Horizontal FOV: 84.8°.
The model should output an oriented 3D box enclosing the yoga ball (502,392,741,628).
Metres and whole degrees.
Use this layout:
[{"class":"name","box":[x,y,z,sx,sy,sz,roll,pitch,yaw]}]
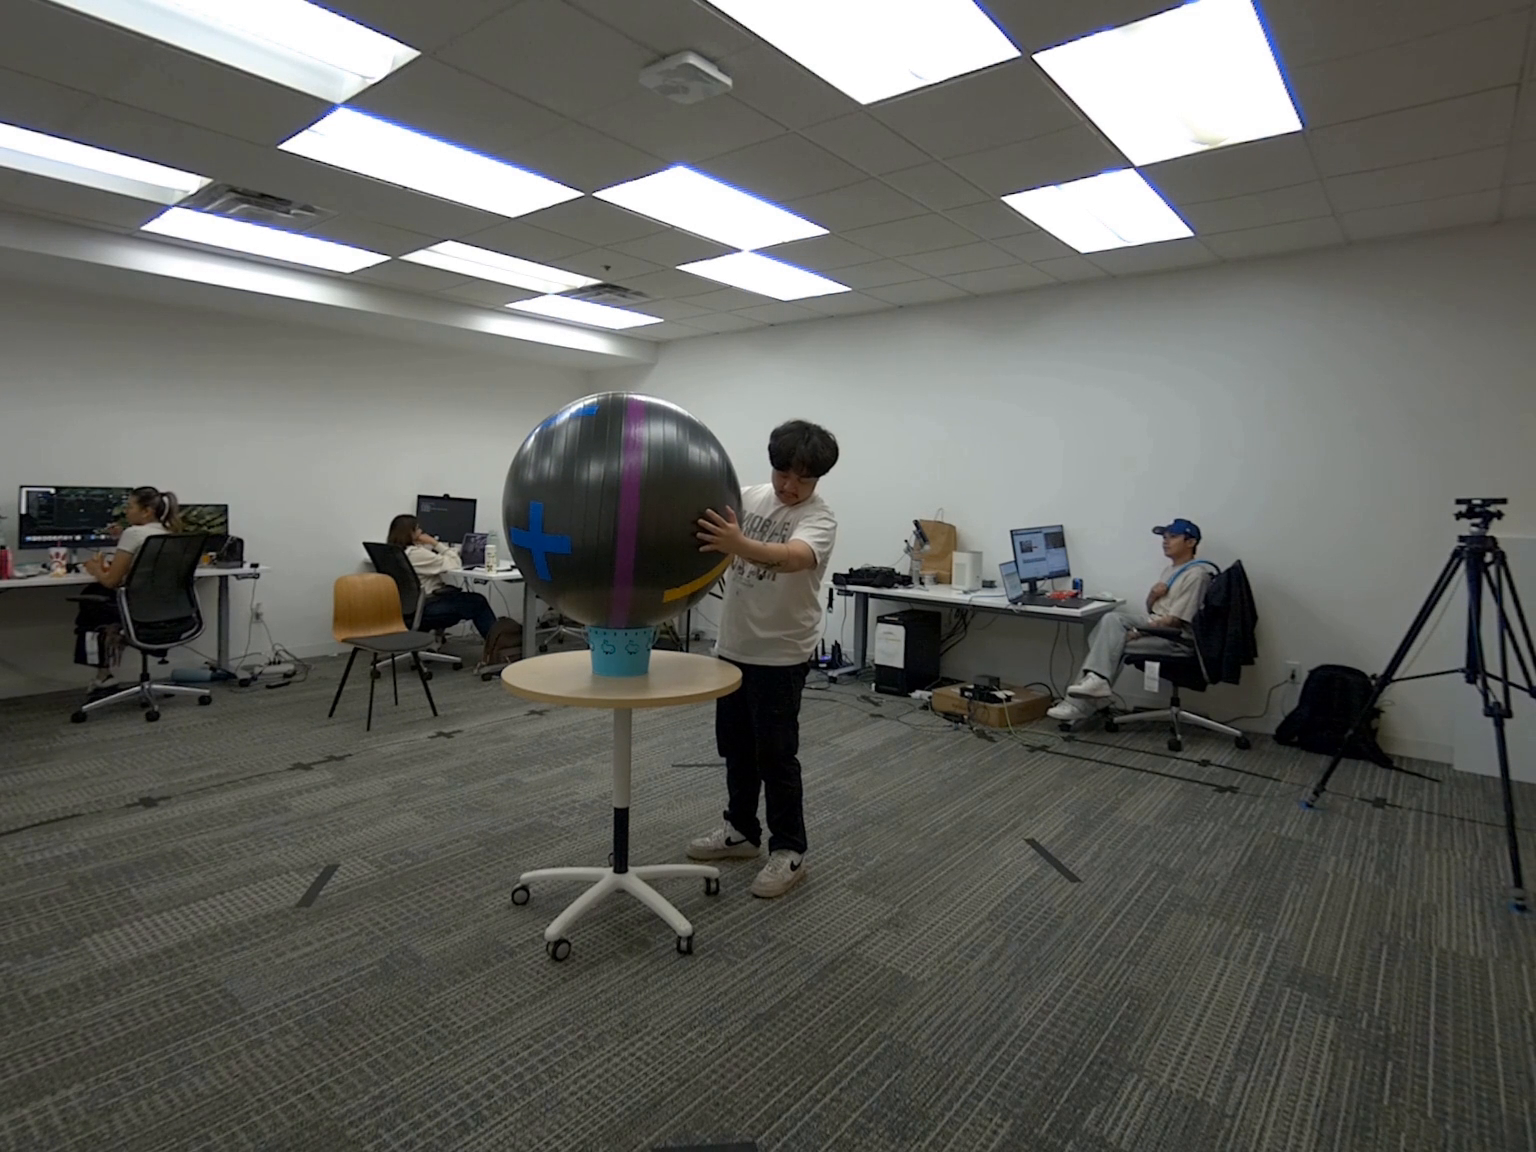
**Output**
[{"class":"yoga ball","box":[-0.473,-0.207,2.725,0.757,0.756,0.761,1,4,-2]}]
